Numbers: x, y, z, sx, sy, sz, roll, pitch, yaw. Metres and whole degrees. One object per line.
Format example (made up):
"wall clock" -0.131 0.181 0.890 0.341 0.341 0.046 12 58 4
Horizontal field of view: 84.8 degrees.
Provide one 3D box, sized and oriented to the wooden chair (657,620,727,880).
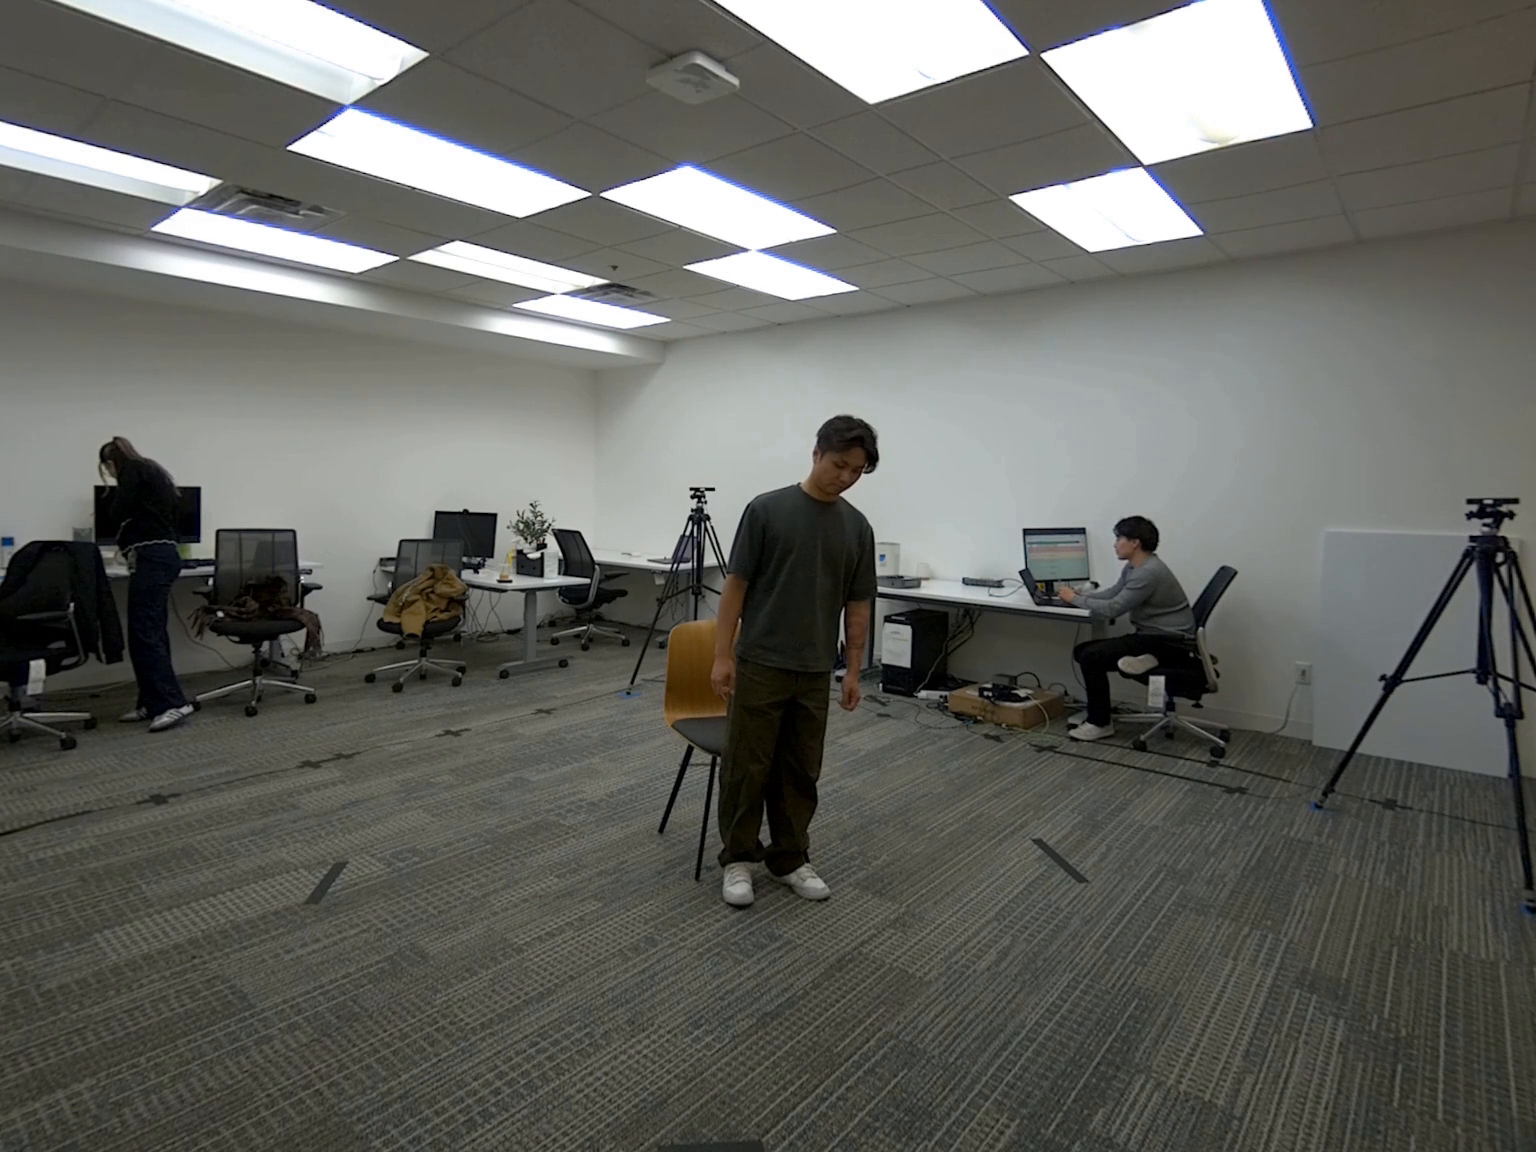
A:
"wooden chair" -0.145 0.621 3.266 0.467 0.878 0.534 0 -1 -23
